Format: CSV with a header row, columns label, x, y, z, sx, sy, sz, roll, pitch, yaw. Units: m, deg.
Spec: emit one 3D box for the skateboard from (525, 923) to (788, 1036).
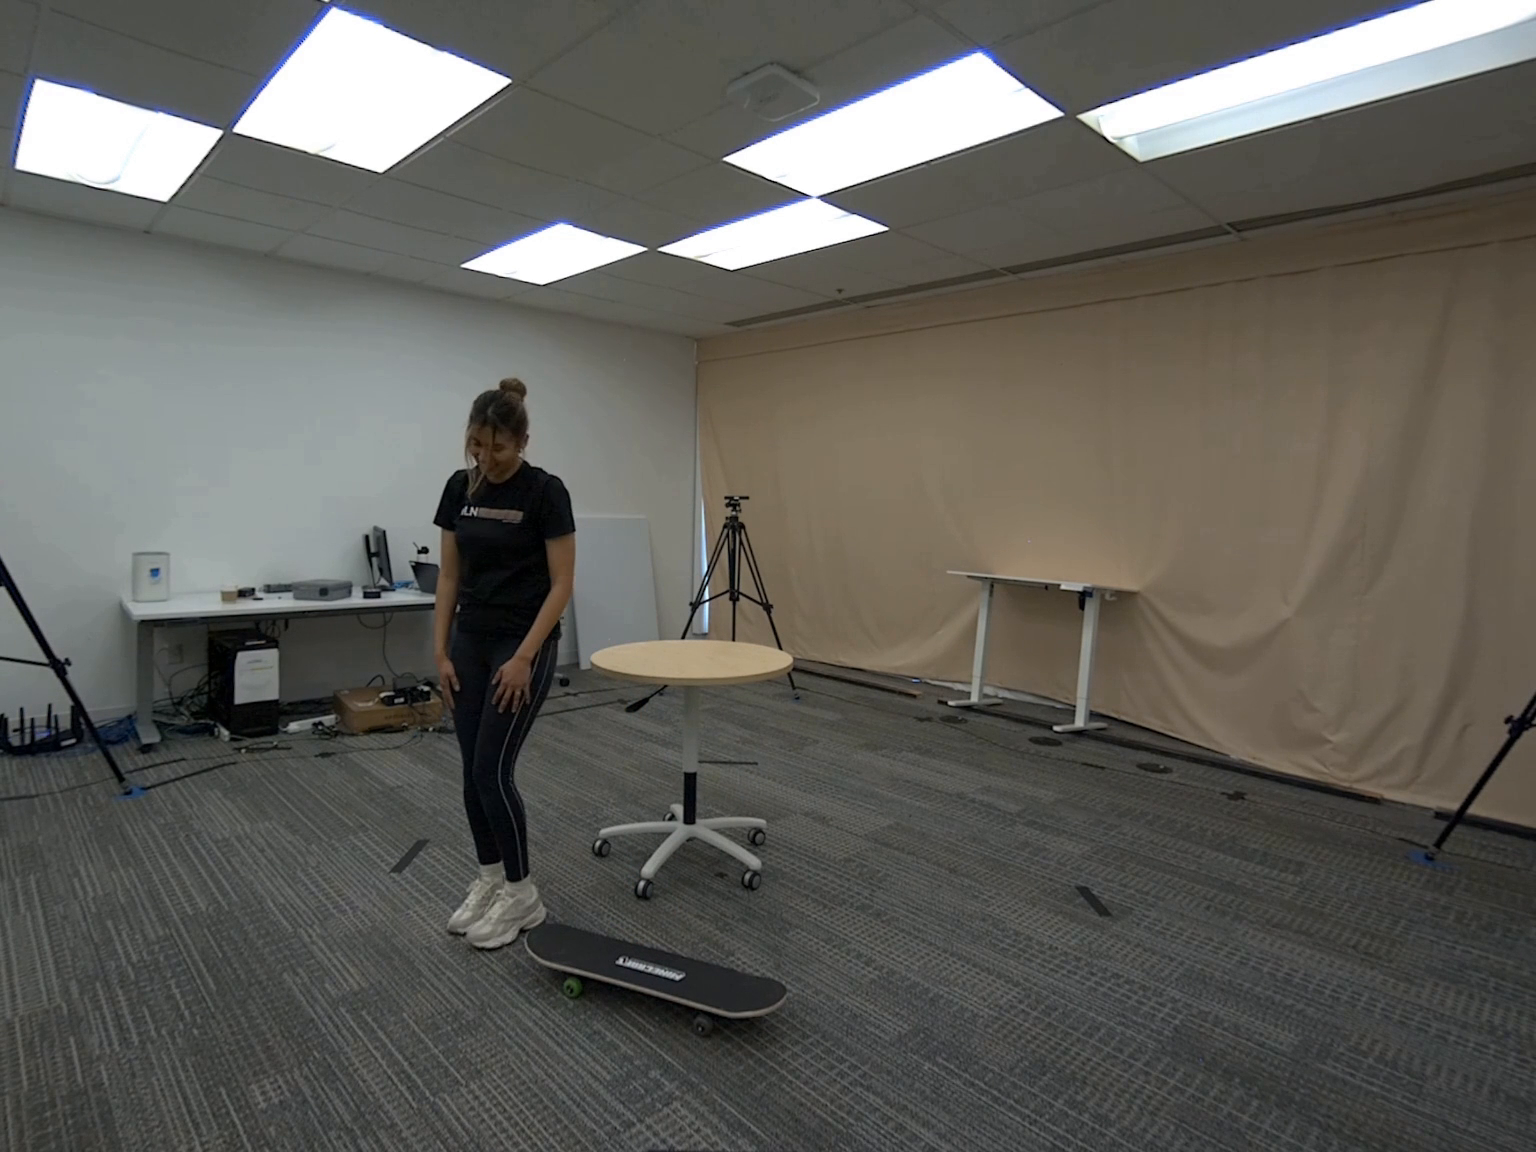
label,x,y,z,sx,sy,sz,roll,pitch,yaw
skateboard,-0.334,1.119,2.322,0.799,0.110,0.190,3,4,22
